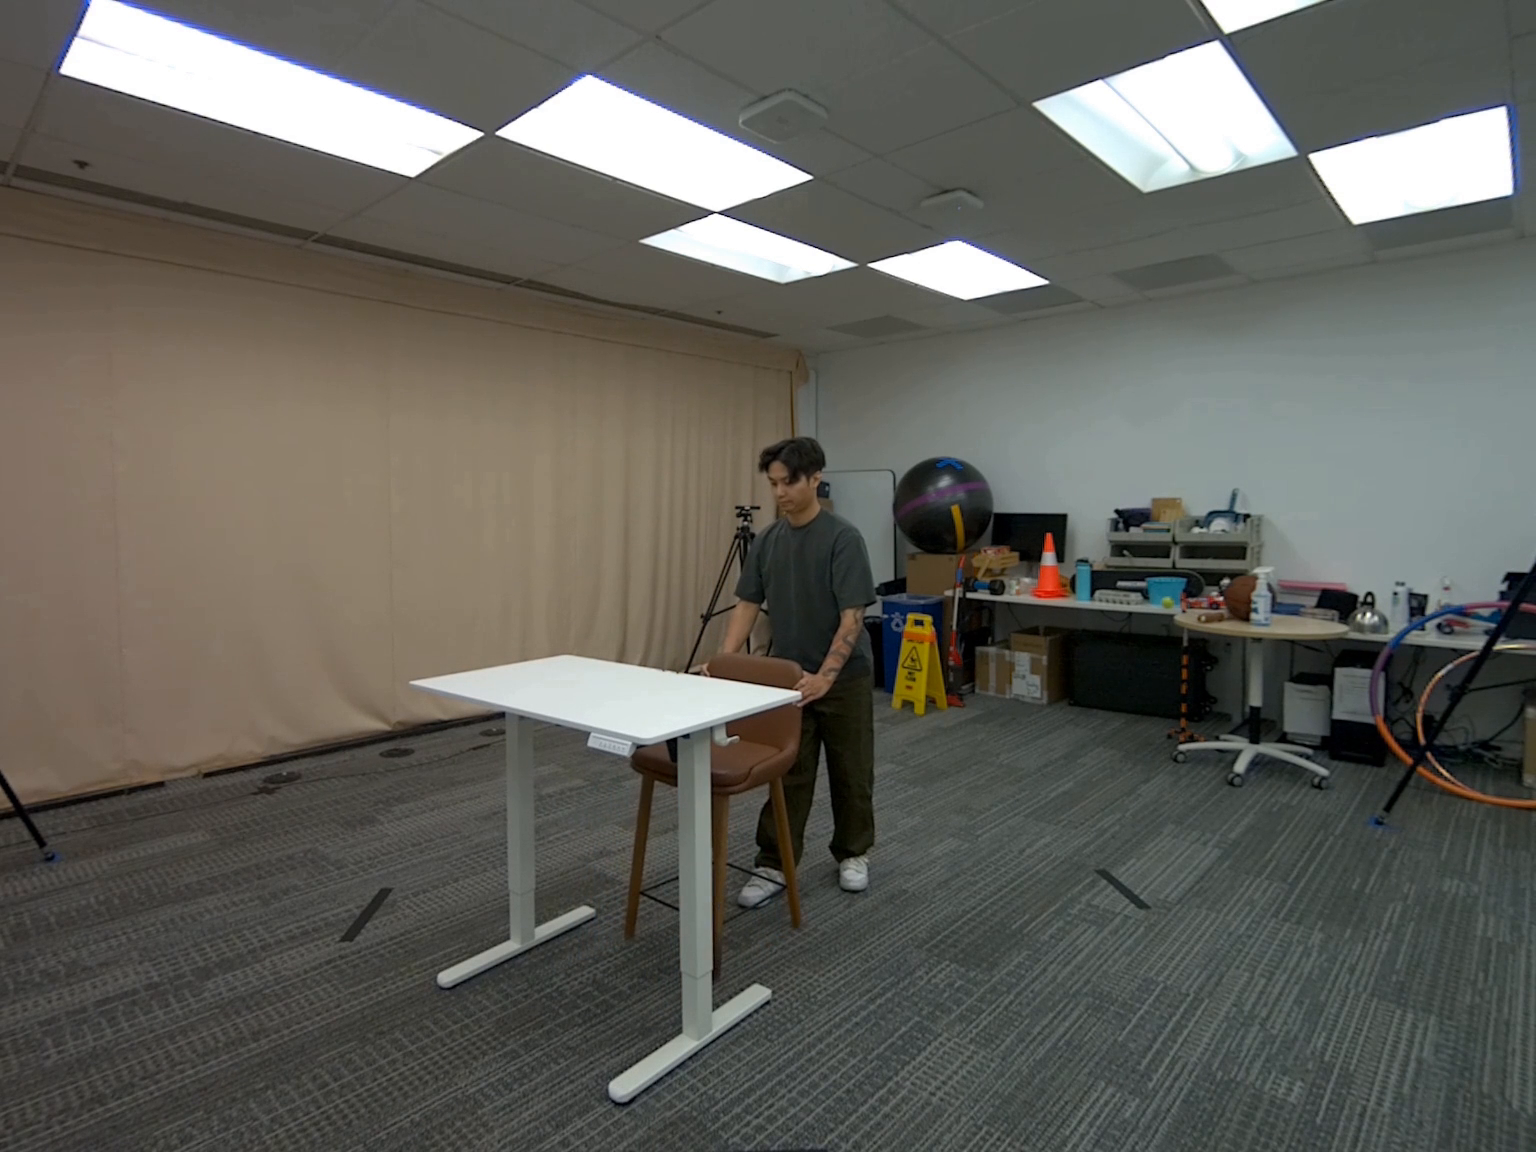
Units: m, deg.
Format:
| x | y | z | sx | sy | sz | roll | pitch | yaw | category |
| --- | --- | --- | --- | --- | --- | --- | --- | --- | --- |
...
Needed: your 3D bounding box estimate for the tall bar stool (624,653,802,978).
| x | y | z | sx | sy | sz | roll | pitch | yaw | category |
| --- | --- | --- | --- | --- | --- | --- | --- | --- | --- |
| -0.162 | 0.723 | 2.739 | 0.472 | 0.889 | 0.452 | 3 | 1 | 42 | tall bar stool |
